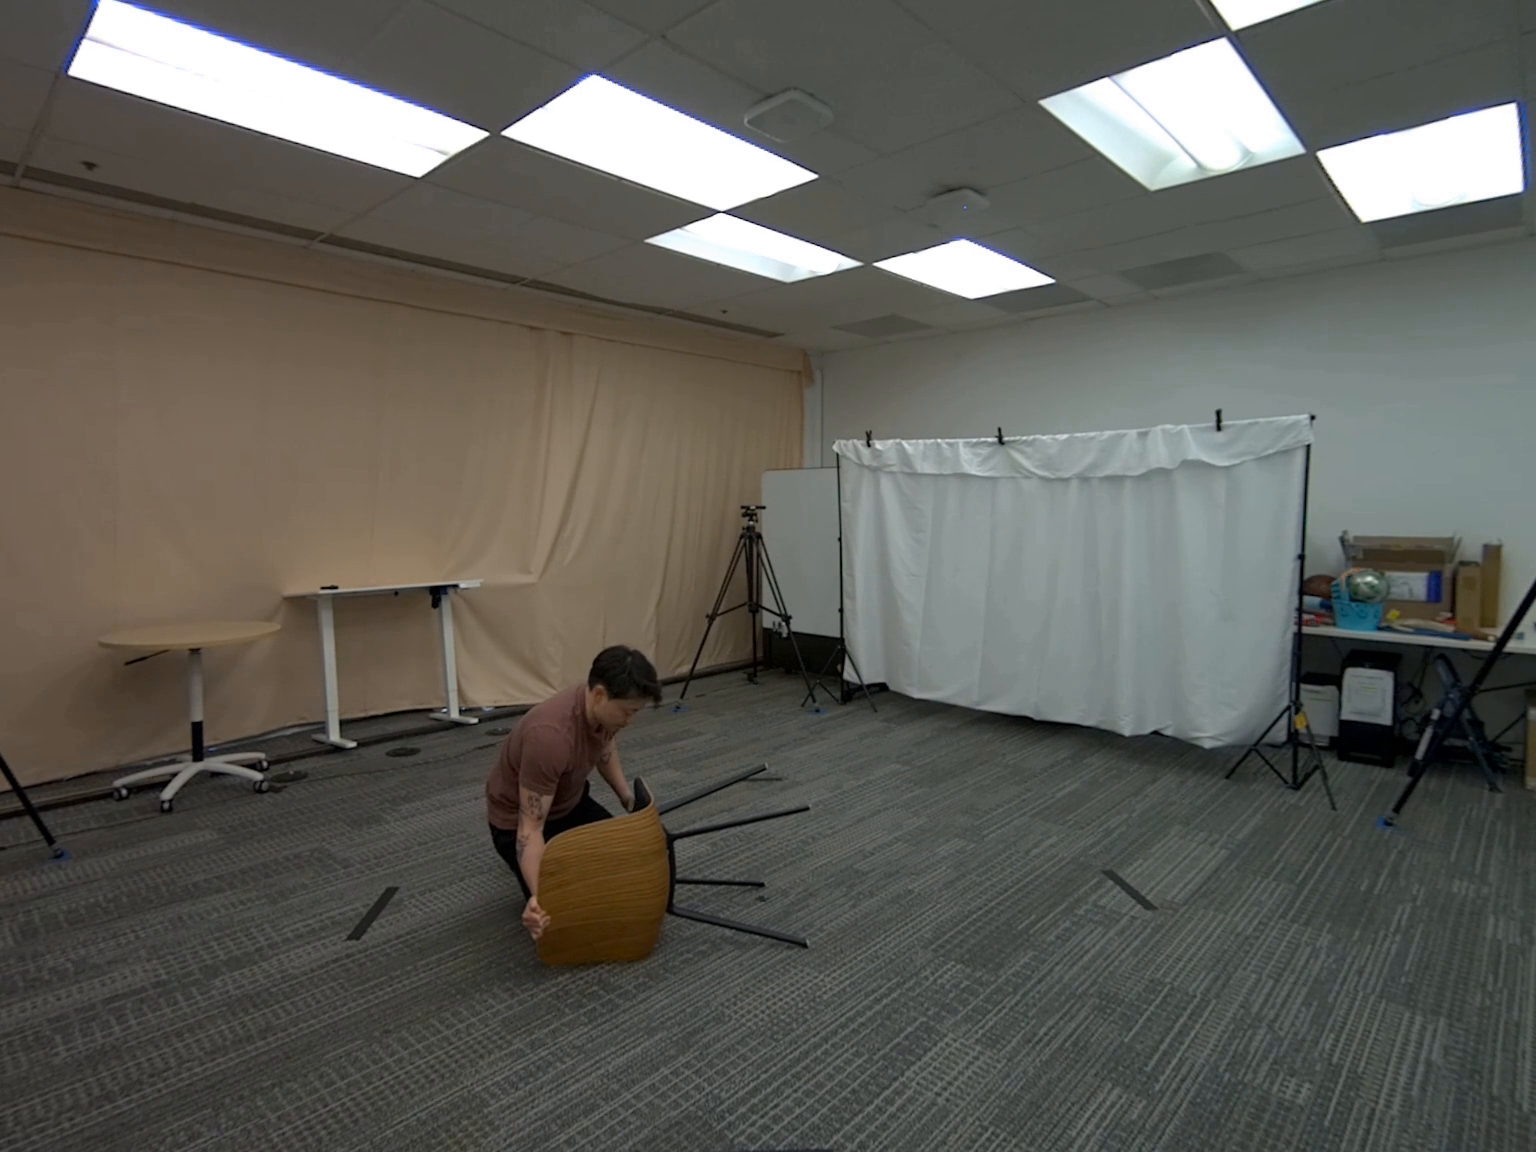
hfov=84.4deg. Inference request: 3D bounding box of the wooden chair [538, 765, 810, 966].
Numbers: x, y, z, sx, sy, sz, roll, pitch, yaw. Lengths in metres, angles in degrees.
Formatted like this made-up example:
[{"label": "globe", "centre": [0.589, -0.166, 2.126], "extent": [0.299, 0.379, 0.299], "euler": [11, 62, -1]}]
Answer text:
[{"label": "wooden chair", "centre": [-0.350, 0.936, 2.756], "extent": [0.859, 0.477, 0.535], "euler": [-1, 3, -21]}]
